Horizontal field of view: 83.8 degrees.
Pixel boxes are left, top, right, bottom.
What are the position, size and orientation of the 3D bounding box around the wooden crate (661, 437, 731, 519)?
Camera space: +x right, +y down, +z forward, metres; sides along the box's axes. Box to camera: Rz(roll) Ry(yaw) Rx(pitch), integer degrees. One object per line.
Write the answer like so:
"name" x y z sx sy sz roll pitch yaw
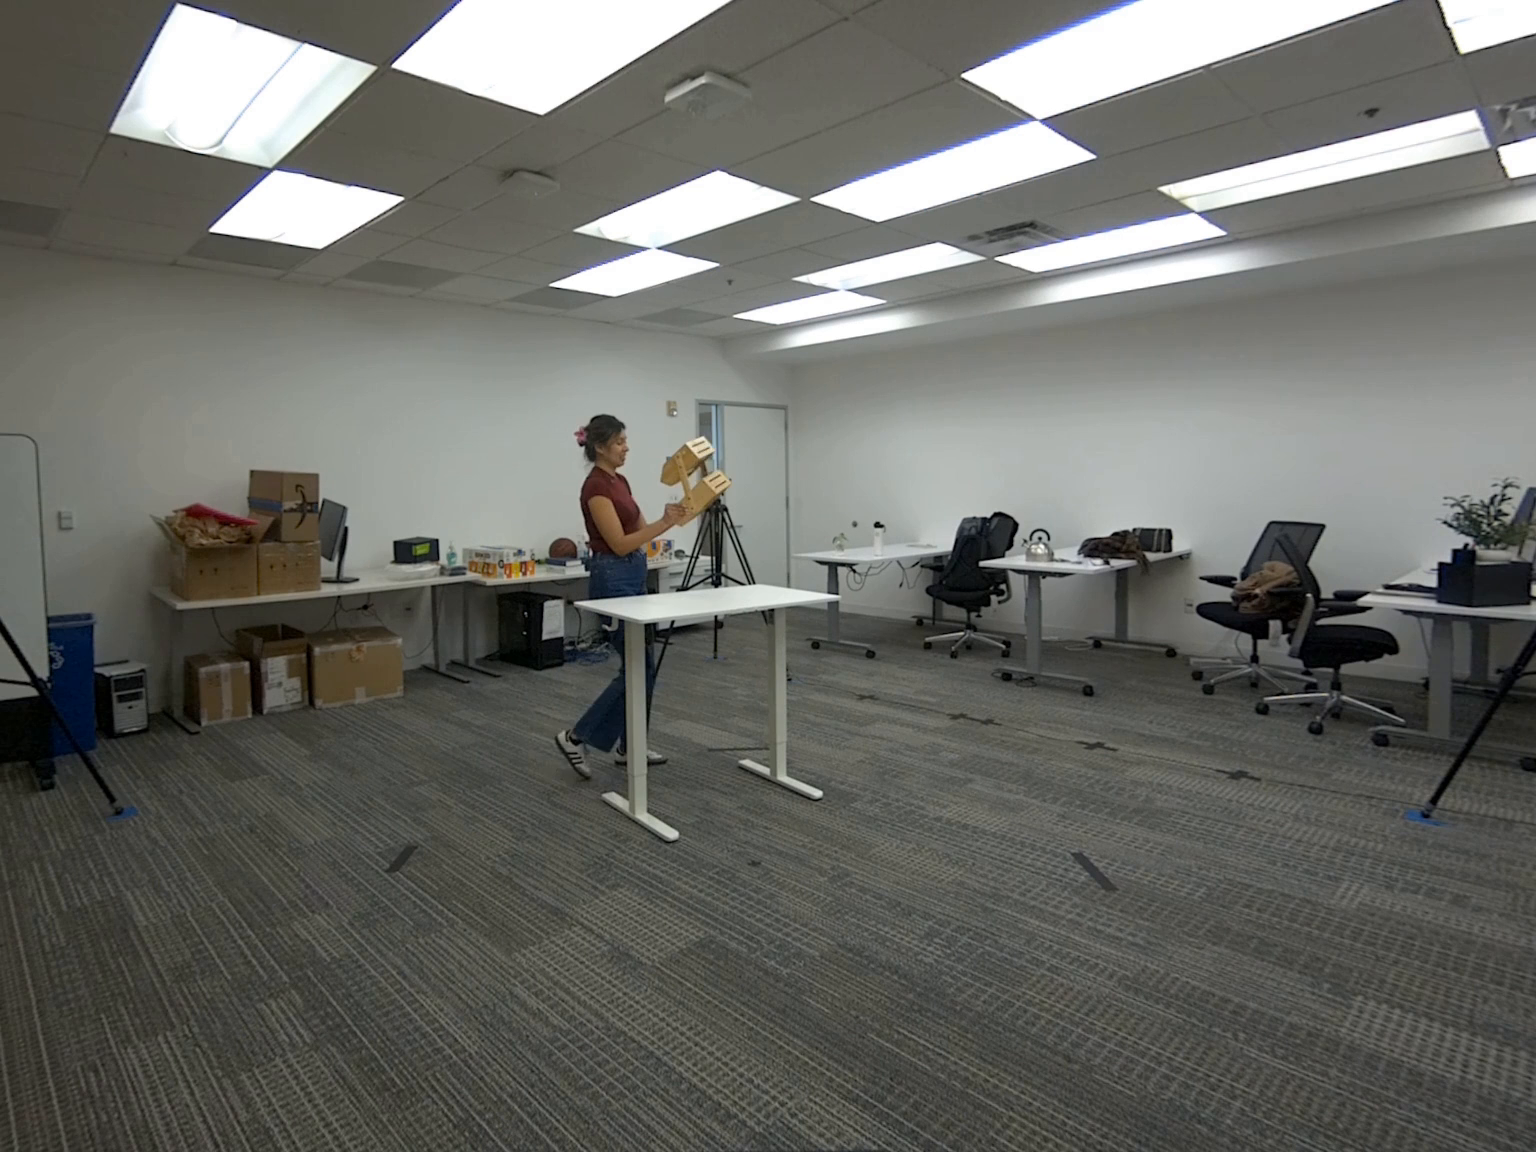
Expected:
"wooden crate" -0.364 -0.439 3.986 0.302 0.273 0.324 -42 1 19
